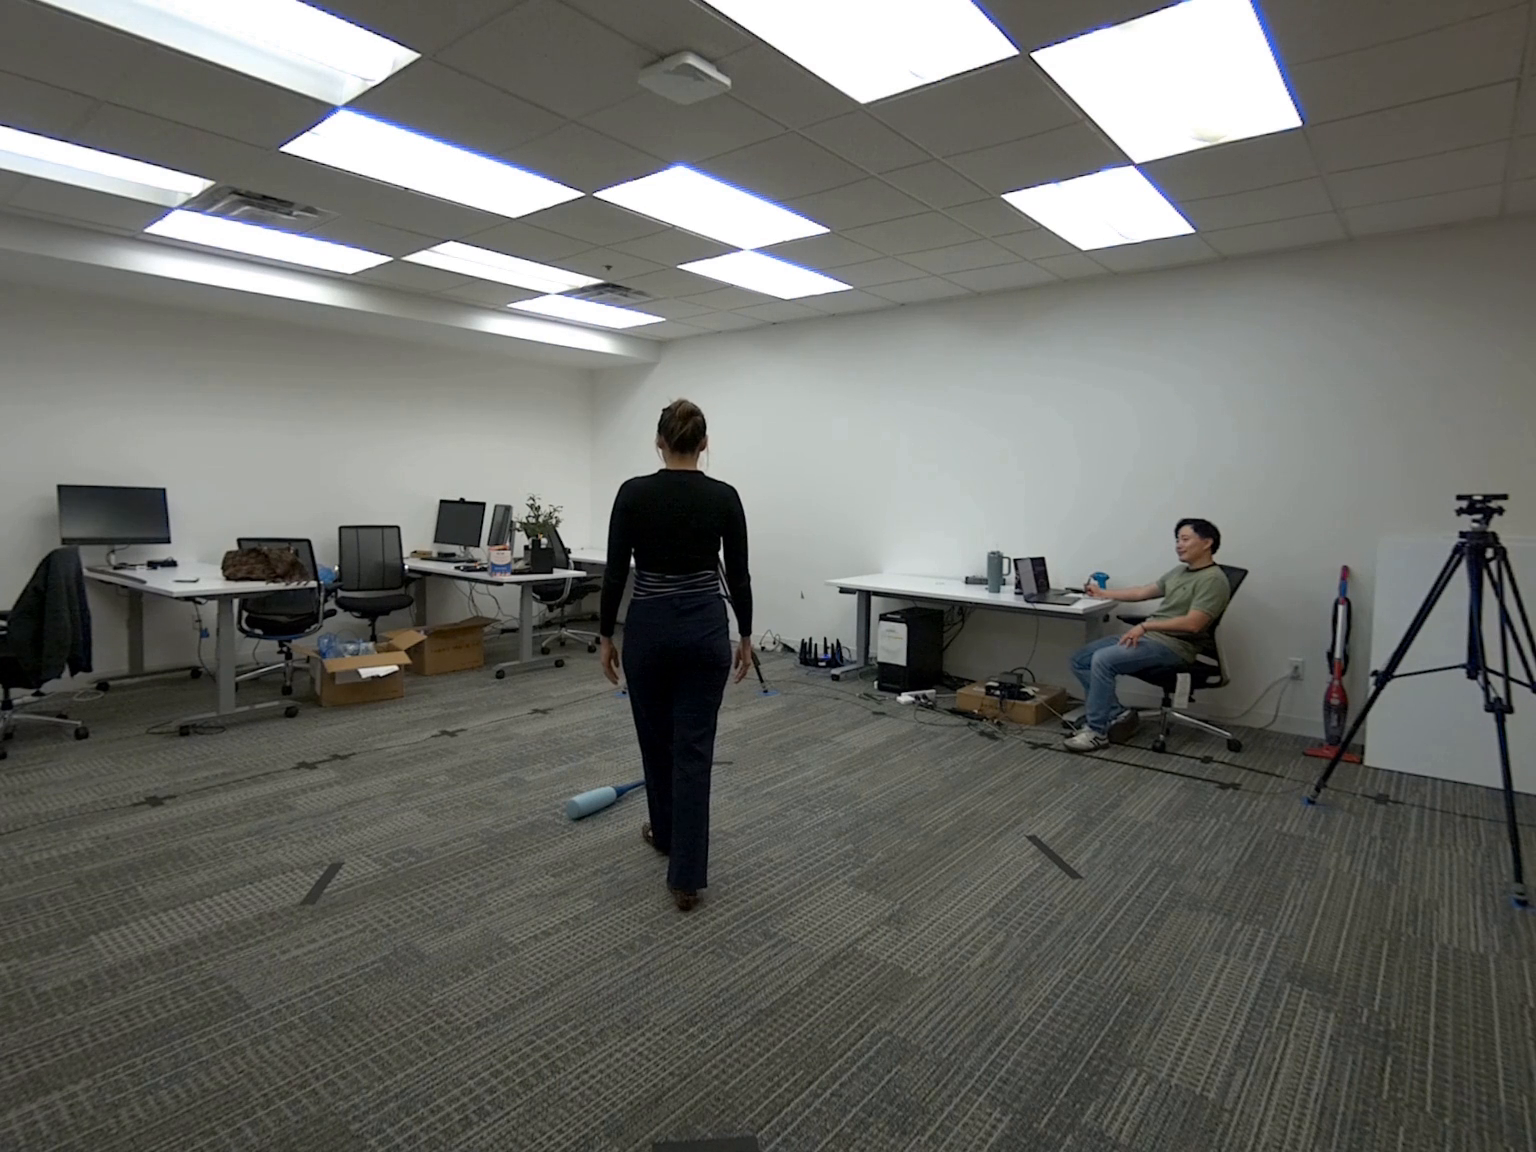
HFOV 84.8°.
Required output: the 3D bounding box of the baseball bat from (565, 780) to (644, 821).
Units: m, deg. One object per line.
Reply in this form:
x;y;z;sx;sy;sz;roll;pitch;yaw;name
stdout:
-0.699;0.958;3.758;0.092;0.089;0.528;3;3;30;baseball bat
